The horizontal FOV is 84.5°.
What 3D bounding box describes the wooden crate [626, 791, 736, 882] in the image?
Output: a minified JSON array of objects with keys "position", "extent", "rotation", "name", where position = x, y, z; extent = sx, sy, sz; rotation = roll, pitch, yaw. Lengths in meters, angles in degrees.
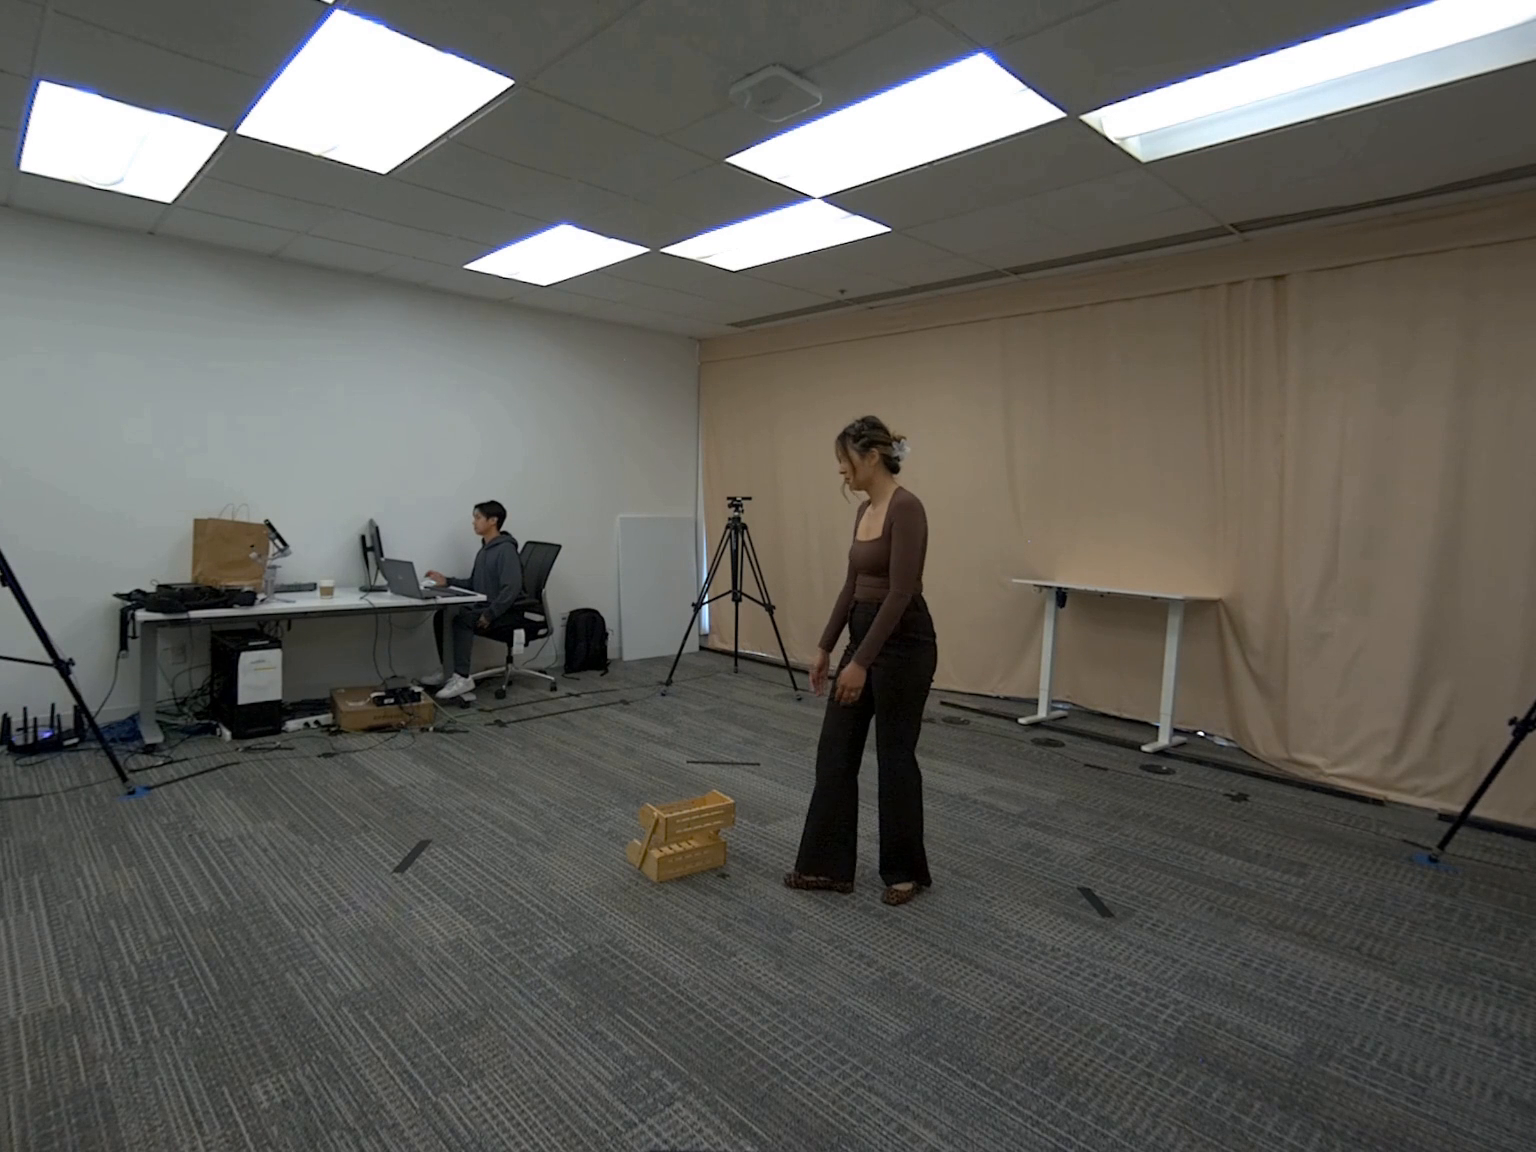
[{"position":[-0.343,0.961,3.192],"extent":[0.317,0.272,0.309],"rotation":[-2,5,-36],"name":"wooden crate"}]
